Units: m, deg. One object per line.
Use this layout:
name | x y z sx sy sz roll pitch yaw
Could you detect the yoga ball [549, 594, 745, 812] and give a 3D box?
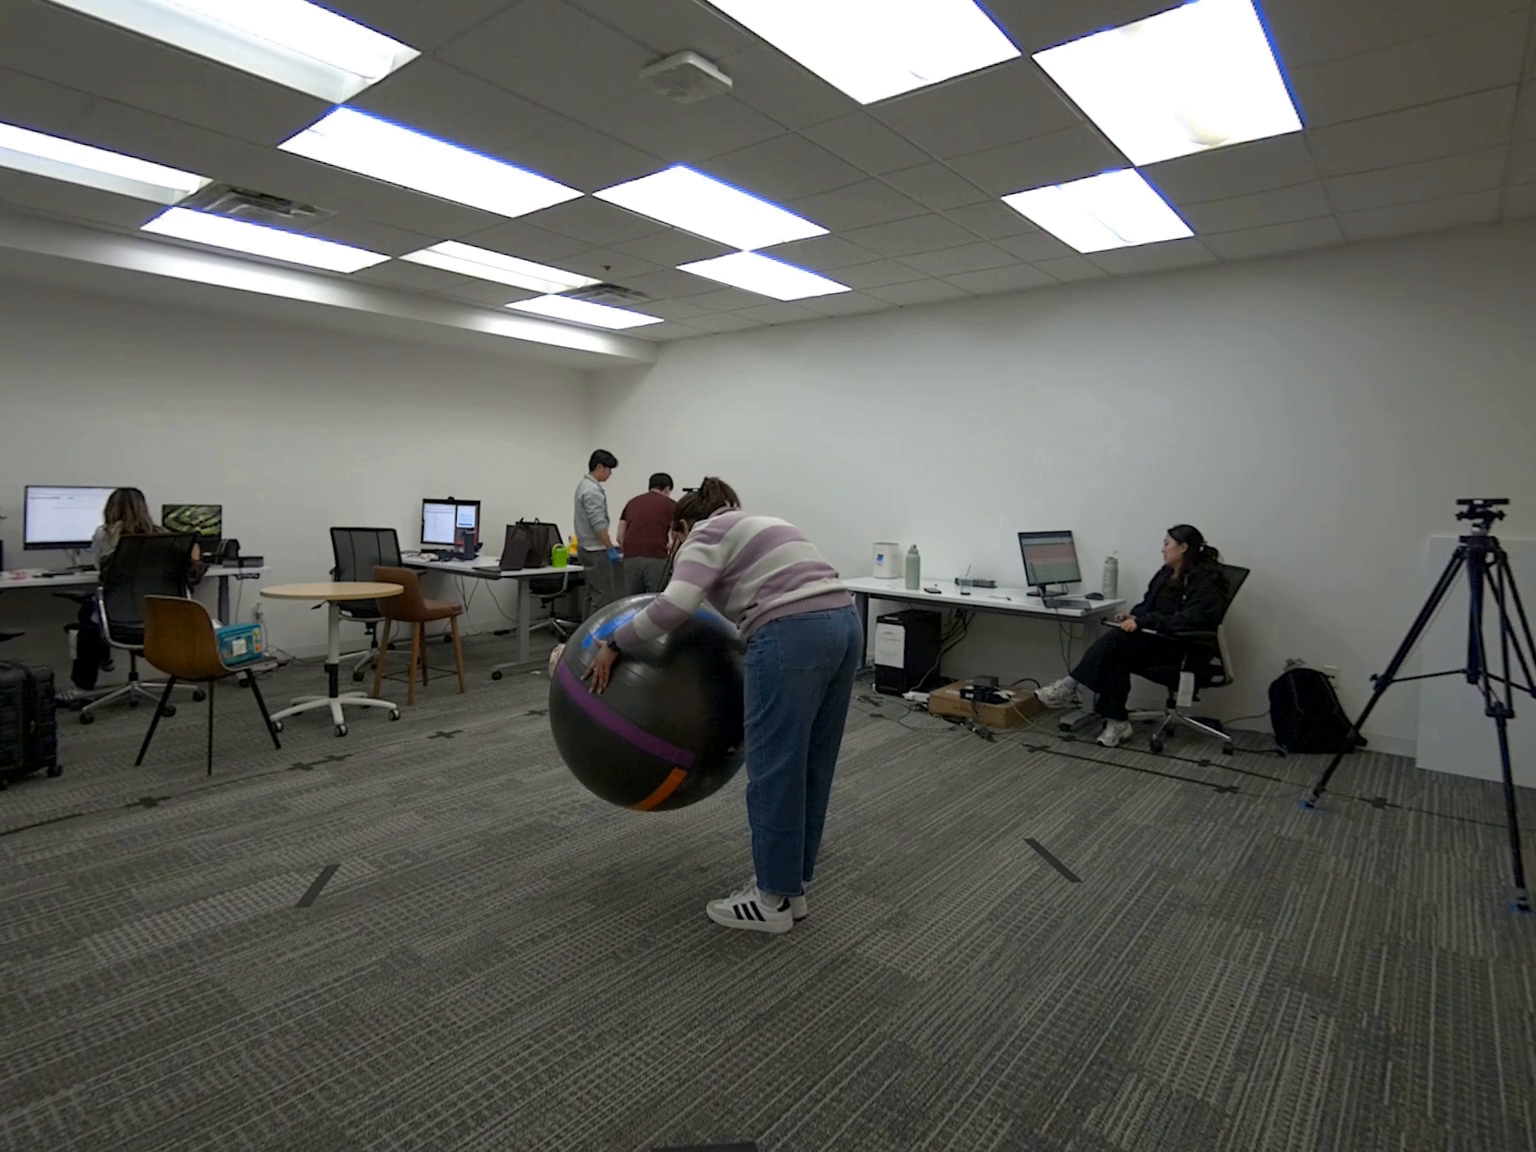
yoga ball | -0.407 0.448 3.030 0.757 0.755 0.762 1 4 -2
